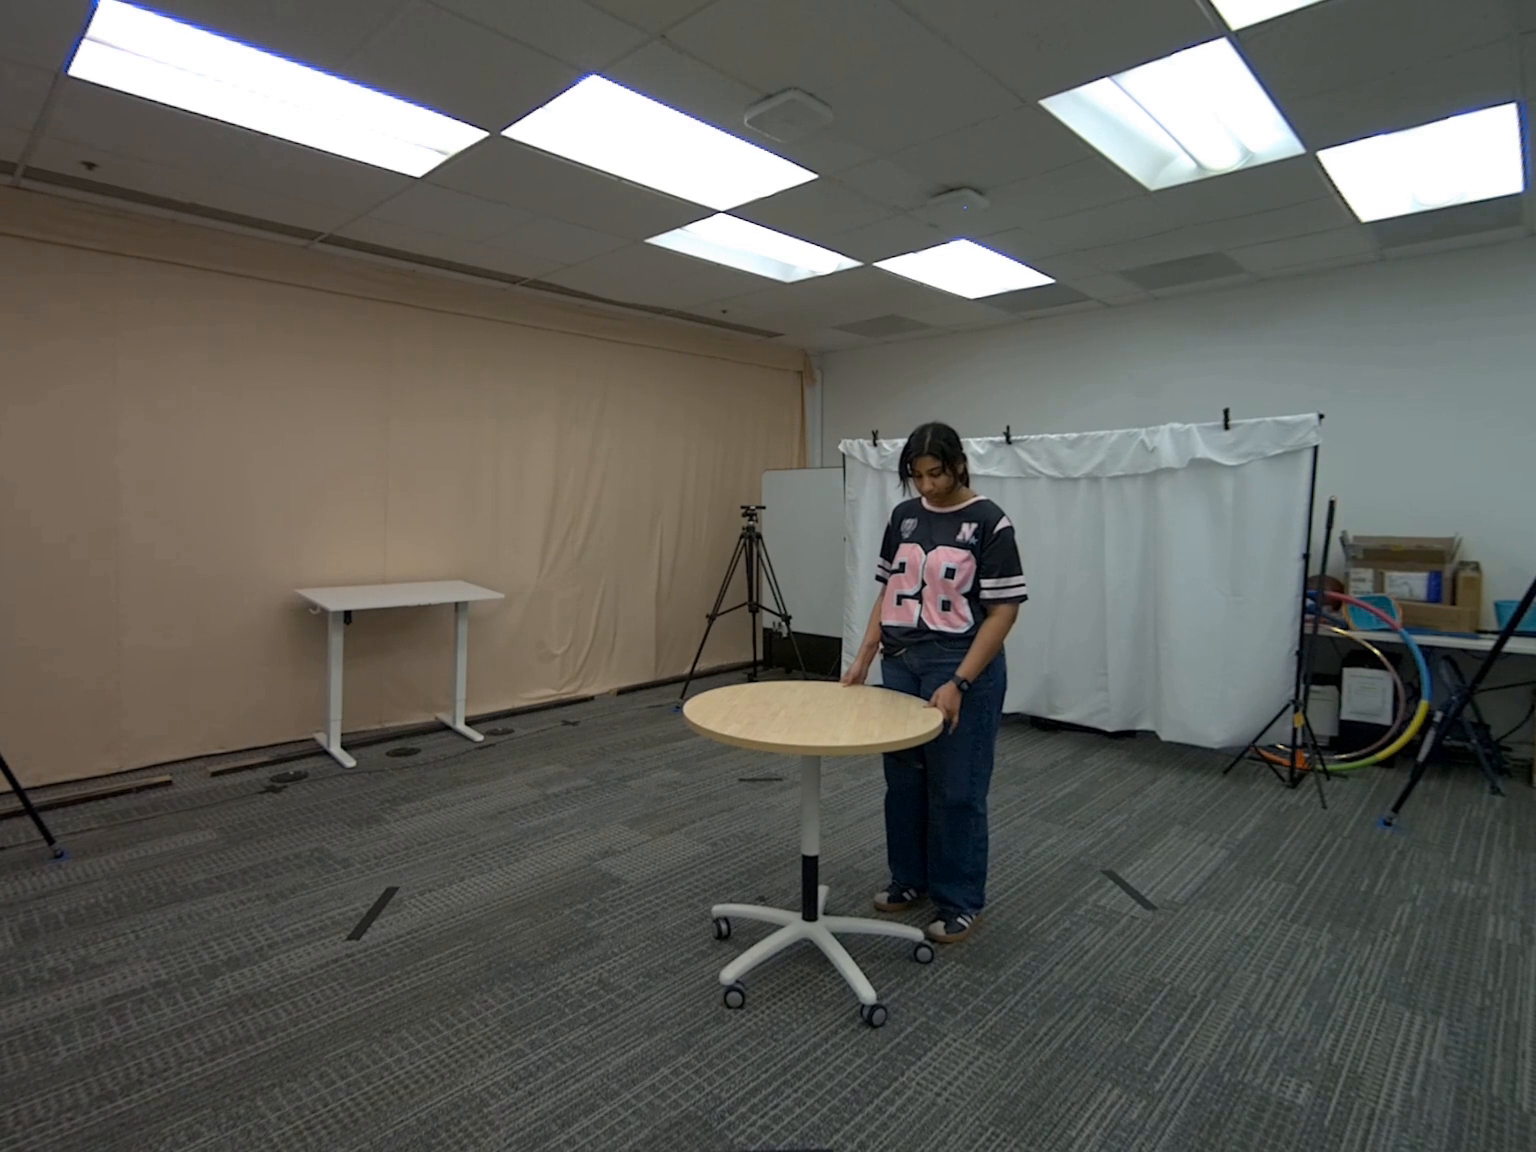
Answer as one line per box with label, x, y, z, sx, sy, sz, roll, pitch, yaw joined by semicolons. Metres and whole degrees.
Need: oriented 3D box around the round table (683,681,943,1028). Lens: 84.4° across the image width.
round table;0.127;0.792;2.538;0.763;0.792;0.767;0;4;-2
